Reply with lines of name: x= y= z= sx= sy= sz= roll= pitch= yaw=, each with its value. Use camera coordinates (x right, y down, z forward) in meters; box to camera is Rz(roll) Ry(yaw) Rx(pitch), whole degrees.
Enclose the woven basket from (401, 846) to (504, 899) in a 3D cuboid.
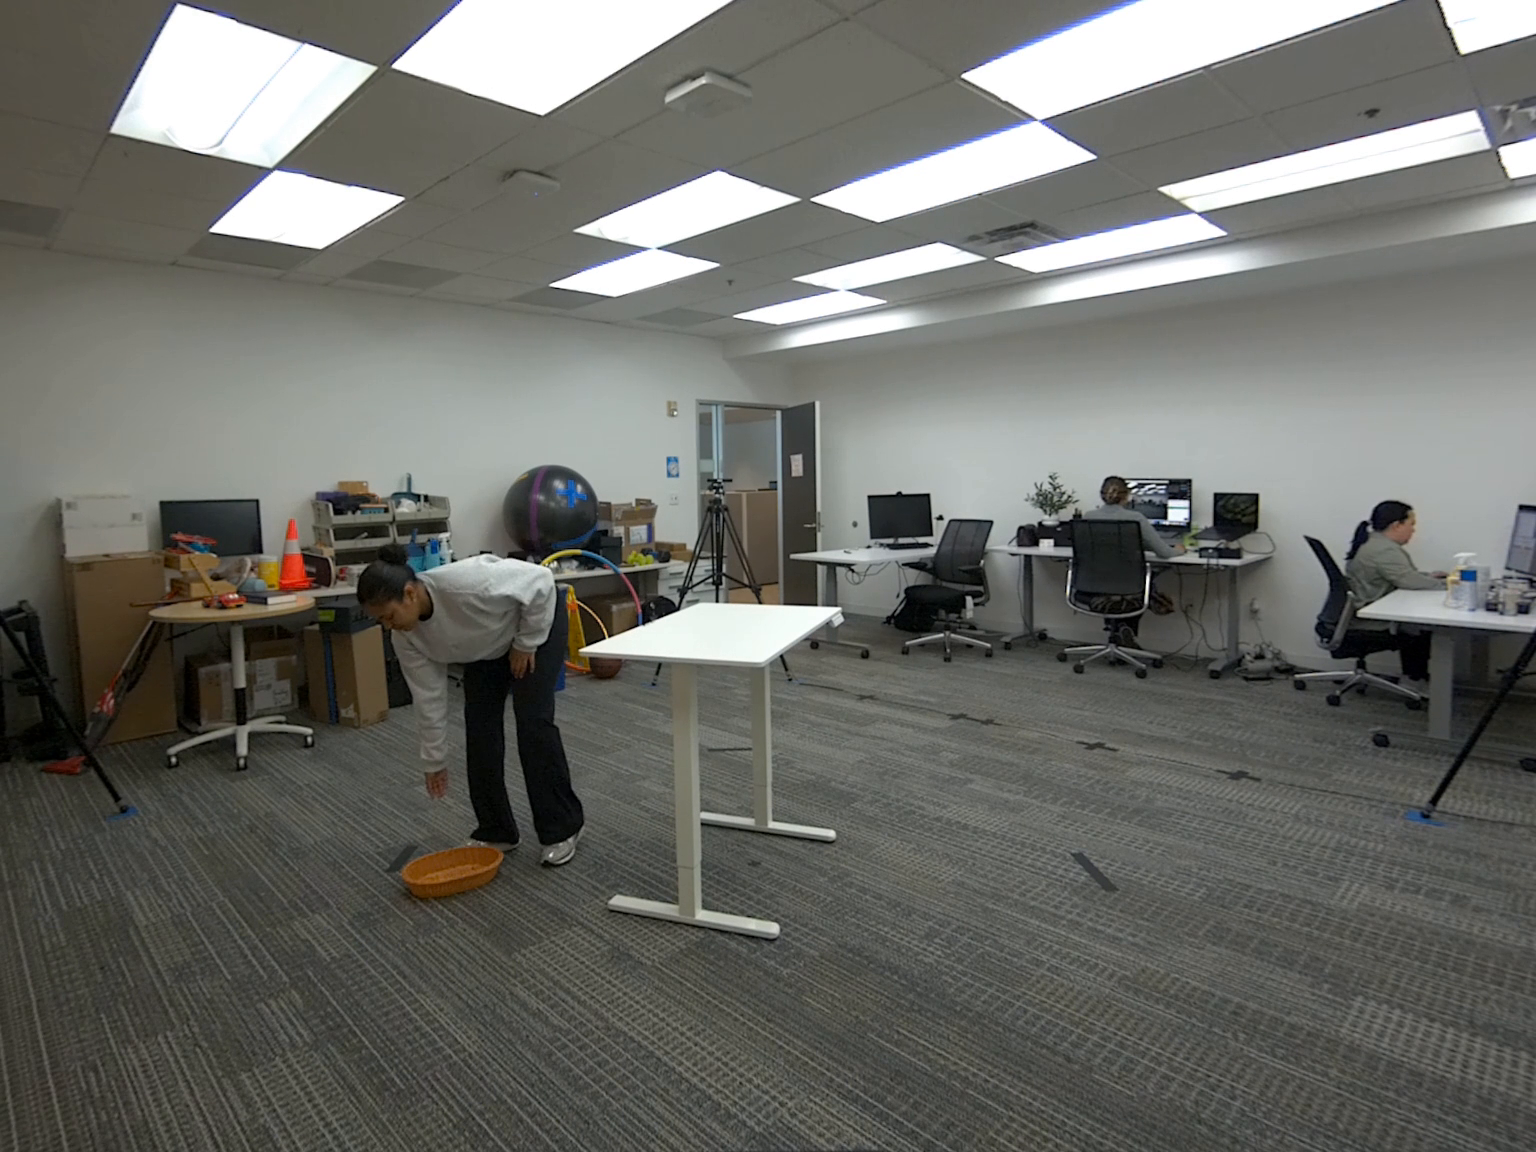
woven basket: x=-1.106 y=1.041 z=3.011 sx=0.343 sy=0.073 sz=0.259 roll=-4 pitch=7 yaw=-27
